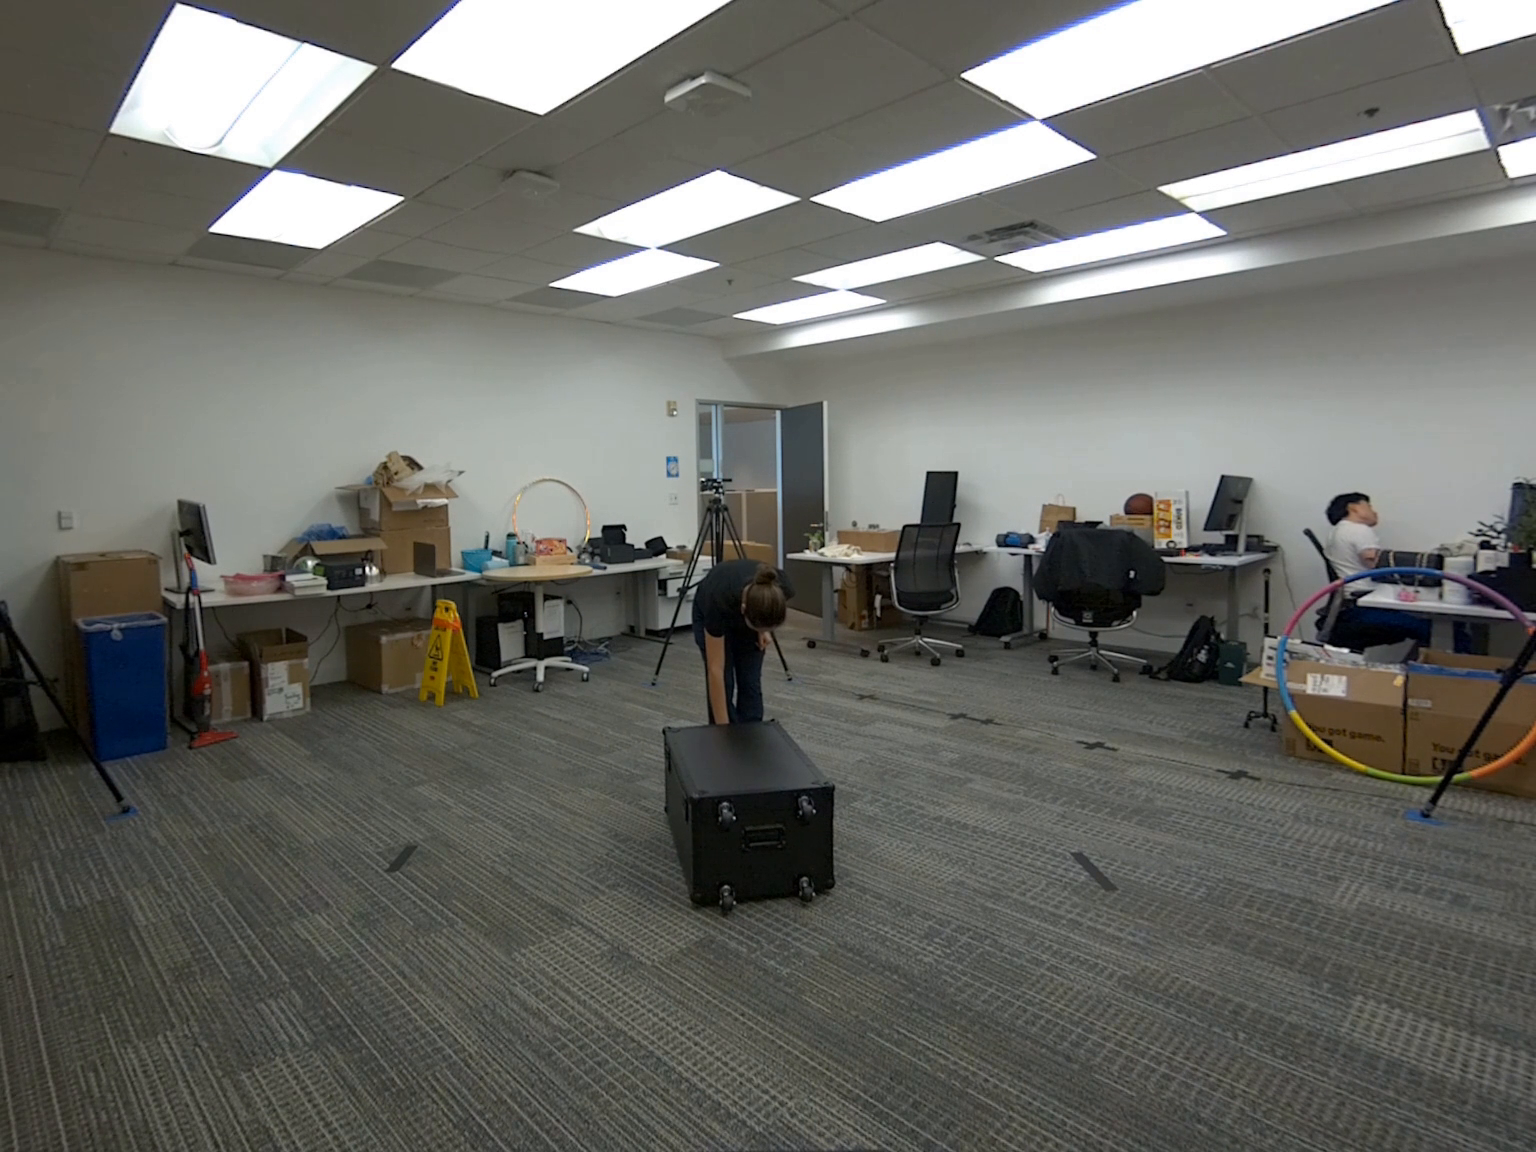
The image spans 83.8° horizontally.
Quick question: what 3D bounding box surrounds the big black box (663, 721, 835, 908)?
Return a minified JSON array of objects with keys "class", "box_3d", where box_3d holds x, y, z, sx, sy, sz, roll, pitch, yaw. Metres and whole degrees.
[{"class":"big black box","box_3d":[-0.099,0.845,3.164,0.515,0.395,0.875,-2,5,-13]}]
